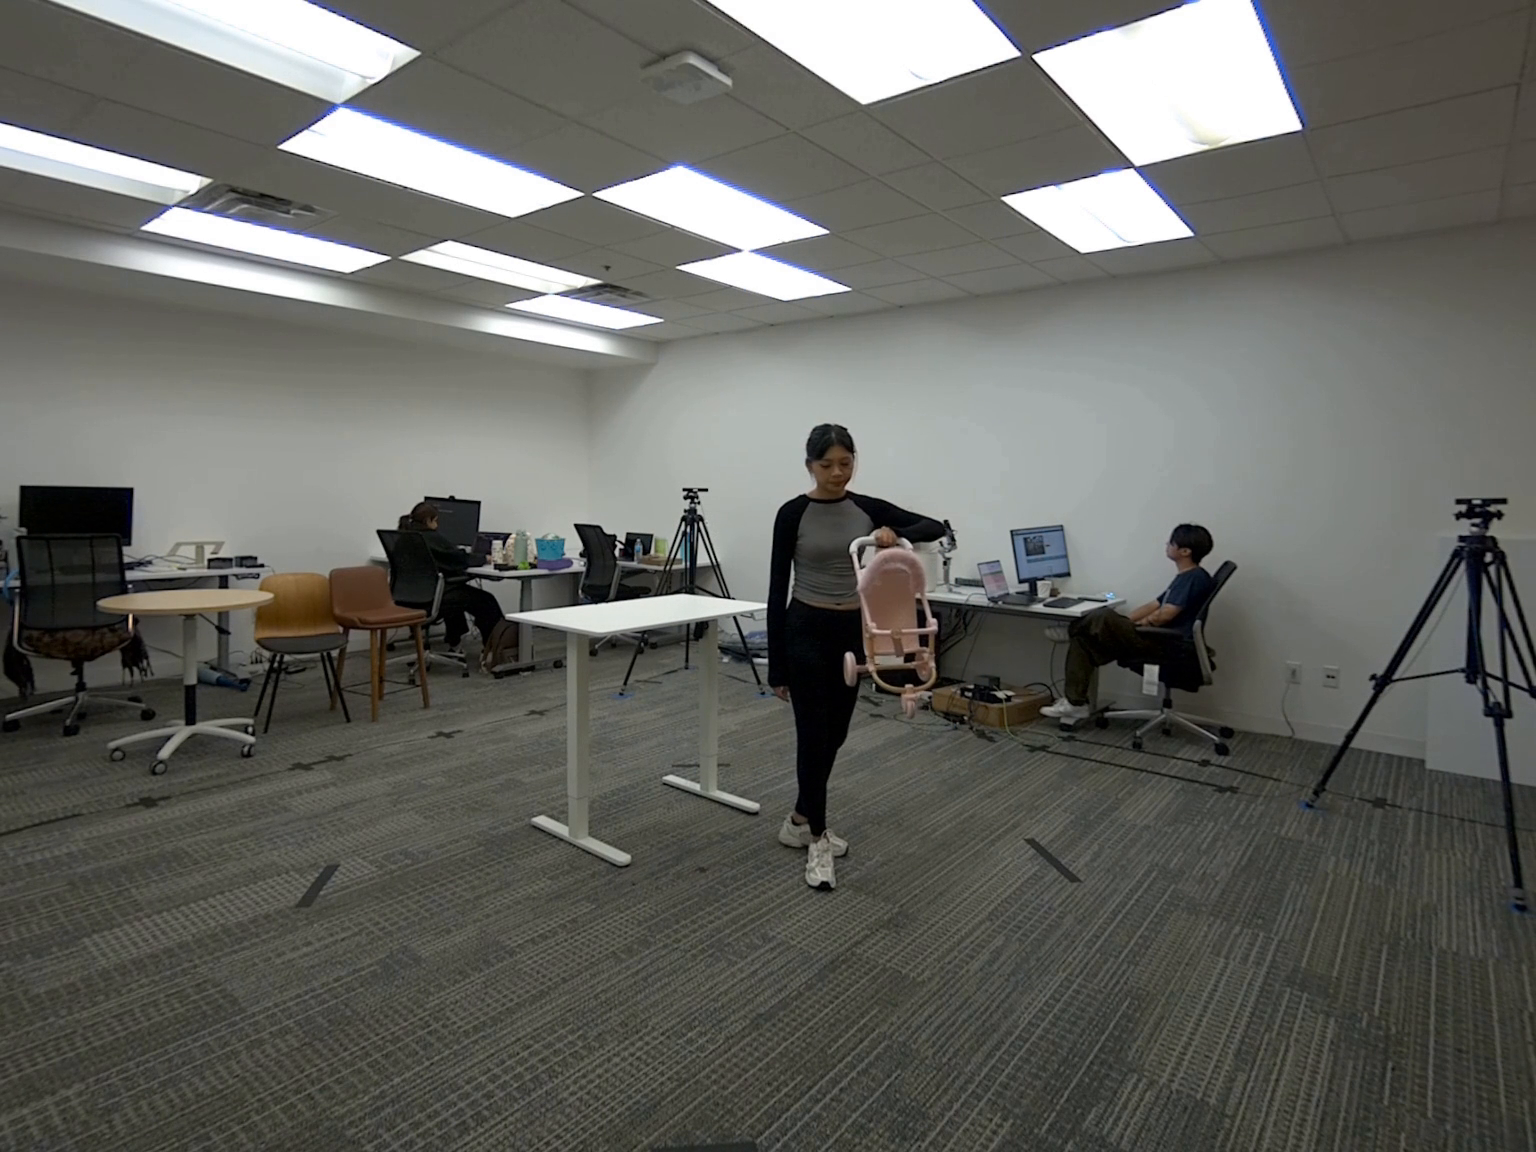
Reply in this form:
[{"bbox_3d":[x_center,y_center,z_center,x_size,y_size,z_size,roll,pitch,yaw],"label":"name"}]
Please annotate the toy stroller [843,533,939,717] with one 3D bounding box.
[{"bbox_3d":[0.384,0.147,2.645,0.281,0.534,0.343,-3,2,-2],"label":"toy stroller"}]
